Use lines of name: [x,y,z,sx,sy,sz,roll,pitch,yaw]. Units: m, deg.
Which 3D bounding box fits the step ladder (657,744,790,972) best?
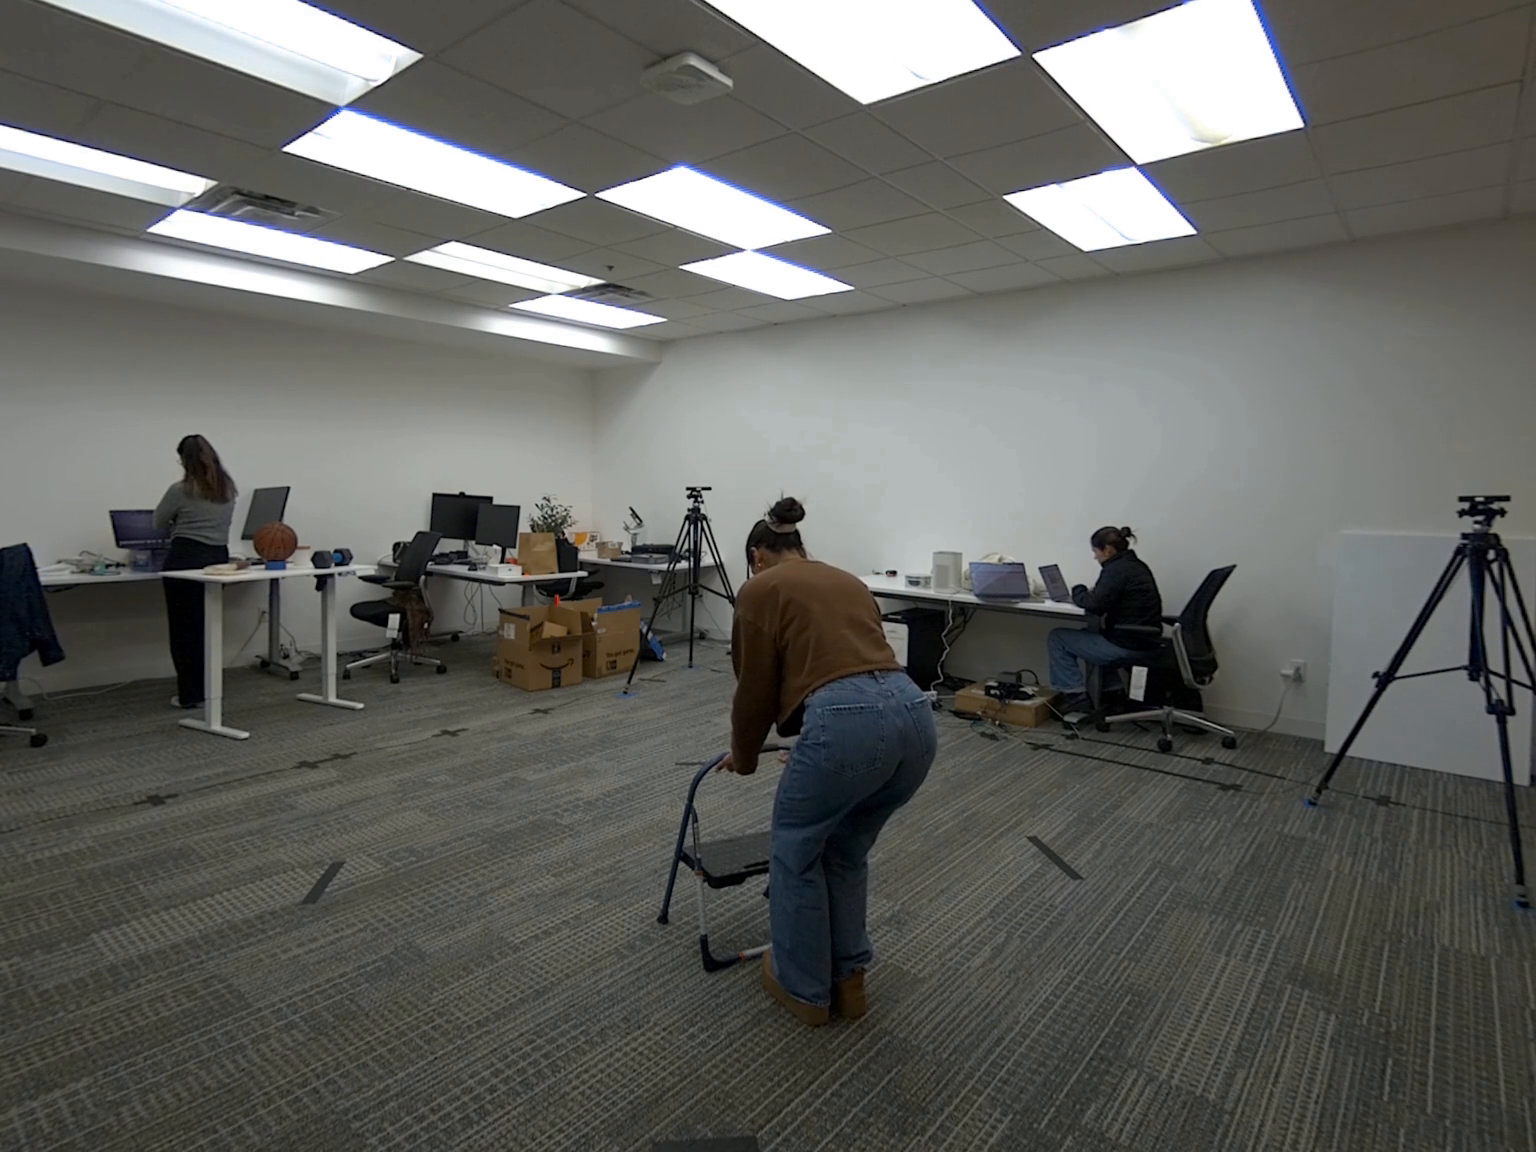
step ladder: [-0.094,0.807,2.662,0.419,0.604,0.360,-2,5,-31]
